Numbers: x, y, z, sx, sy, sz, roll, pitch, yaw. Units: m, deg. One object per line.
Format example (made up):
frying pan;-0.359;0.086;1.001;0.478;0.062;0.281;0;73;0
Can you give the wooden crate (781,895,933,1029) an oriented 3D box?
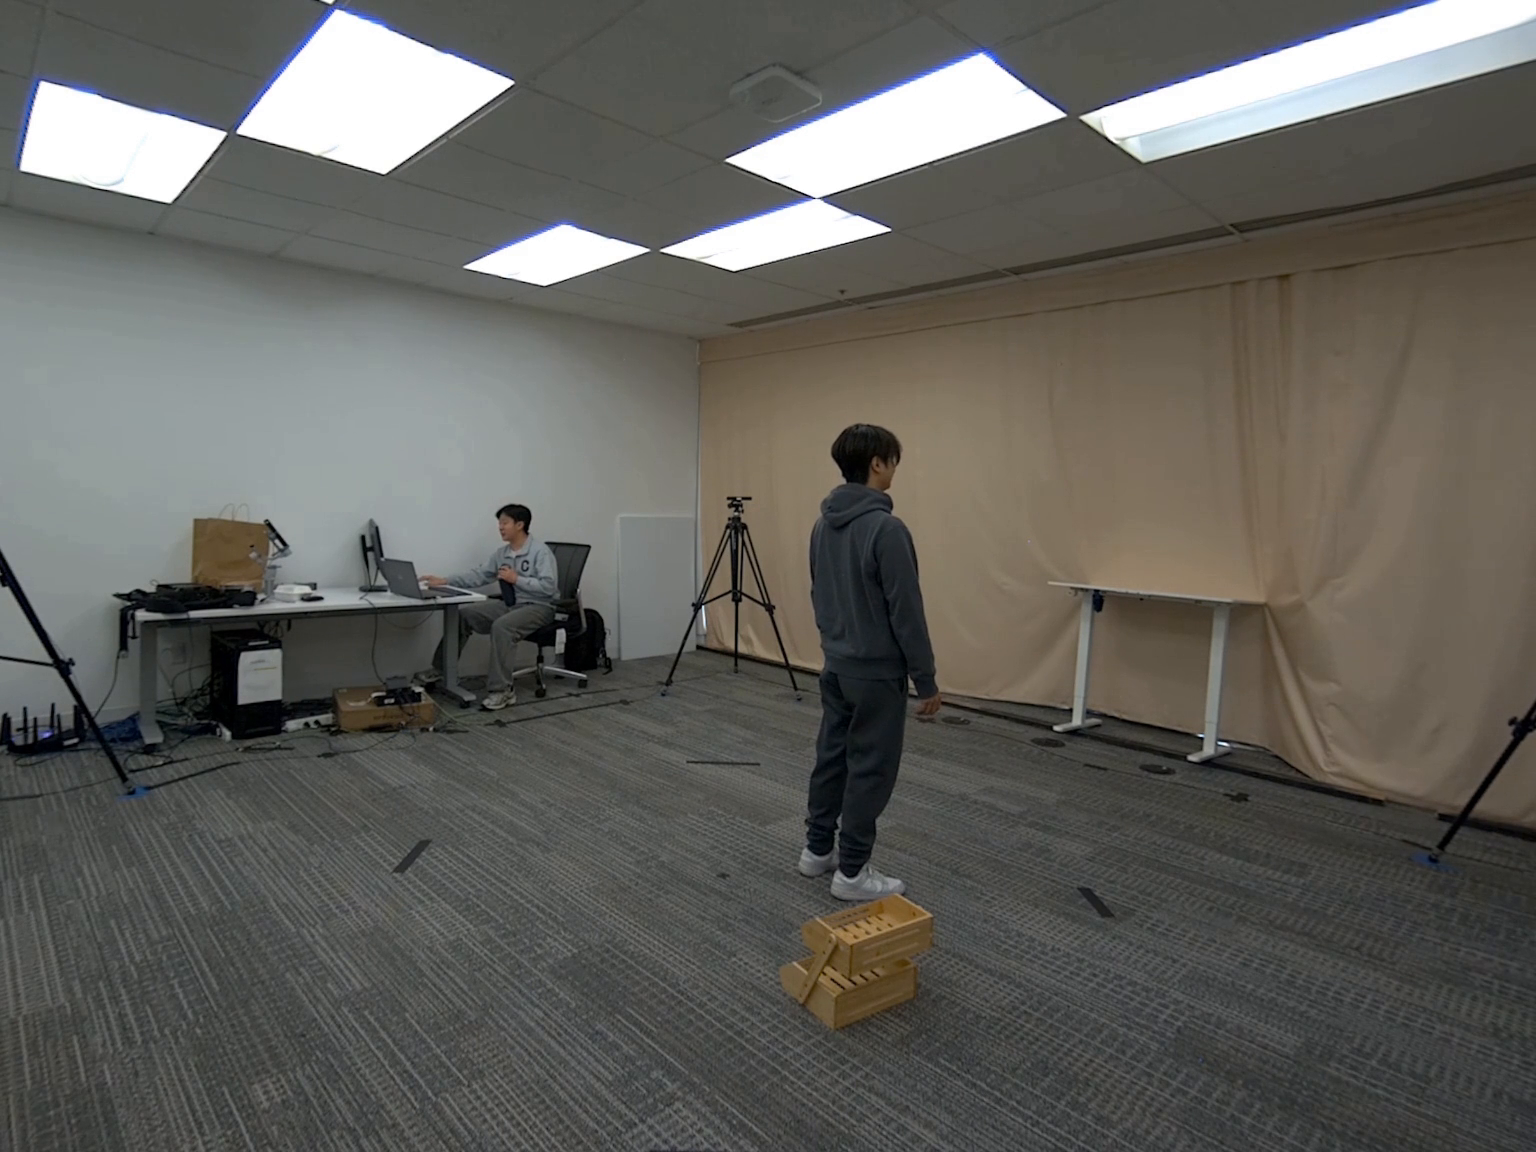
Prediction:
wooden crate;0.236;1.046;2.370;0.317;0.272;0.309;-2;6;-35
